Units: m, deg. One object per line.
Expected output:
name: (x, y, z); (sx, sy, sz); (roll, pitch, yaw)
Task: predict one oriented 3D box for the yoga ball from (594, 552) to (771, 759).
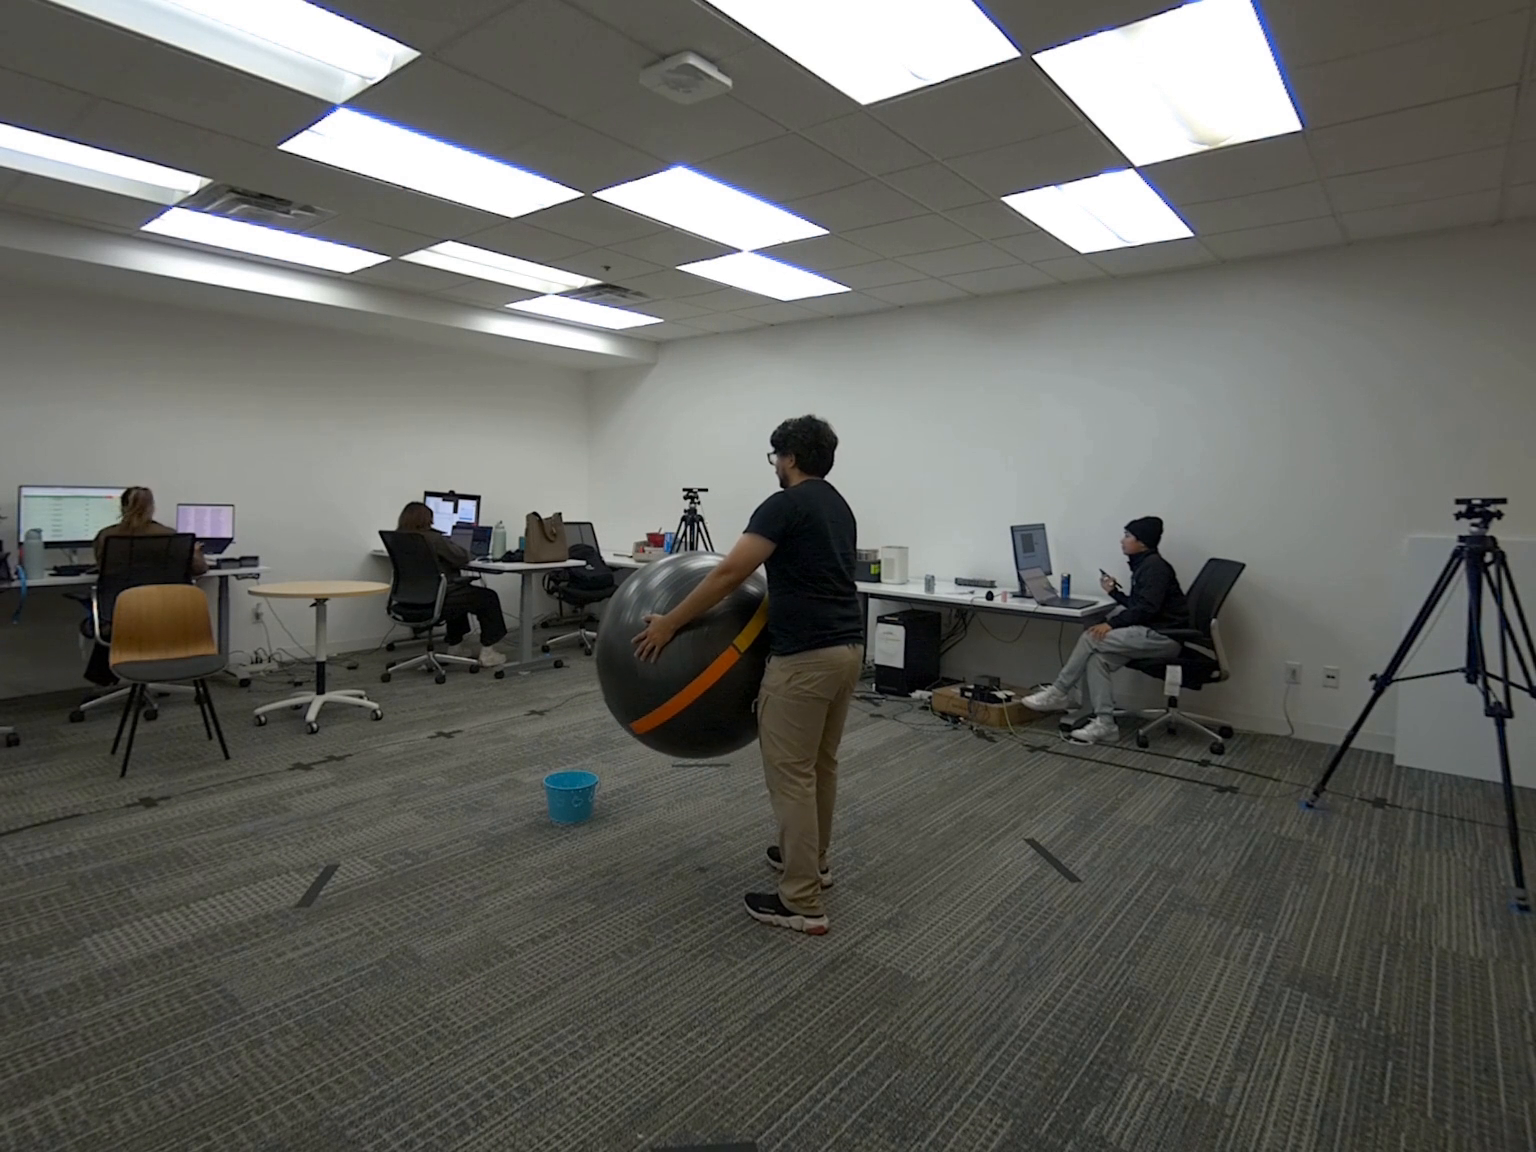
yoga ball: (-0.274, 0.290, 3.159); (0.757, 0.756, 0.762); (1, 4, -2)
